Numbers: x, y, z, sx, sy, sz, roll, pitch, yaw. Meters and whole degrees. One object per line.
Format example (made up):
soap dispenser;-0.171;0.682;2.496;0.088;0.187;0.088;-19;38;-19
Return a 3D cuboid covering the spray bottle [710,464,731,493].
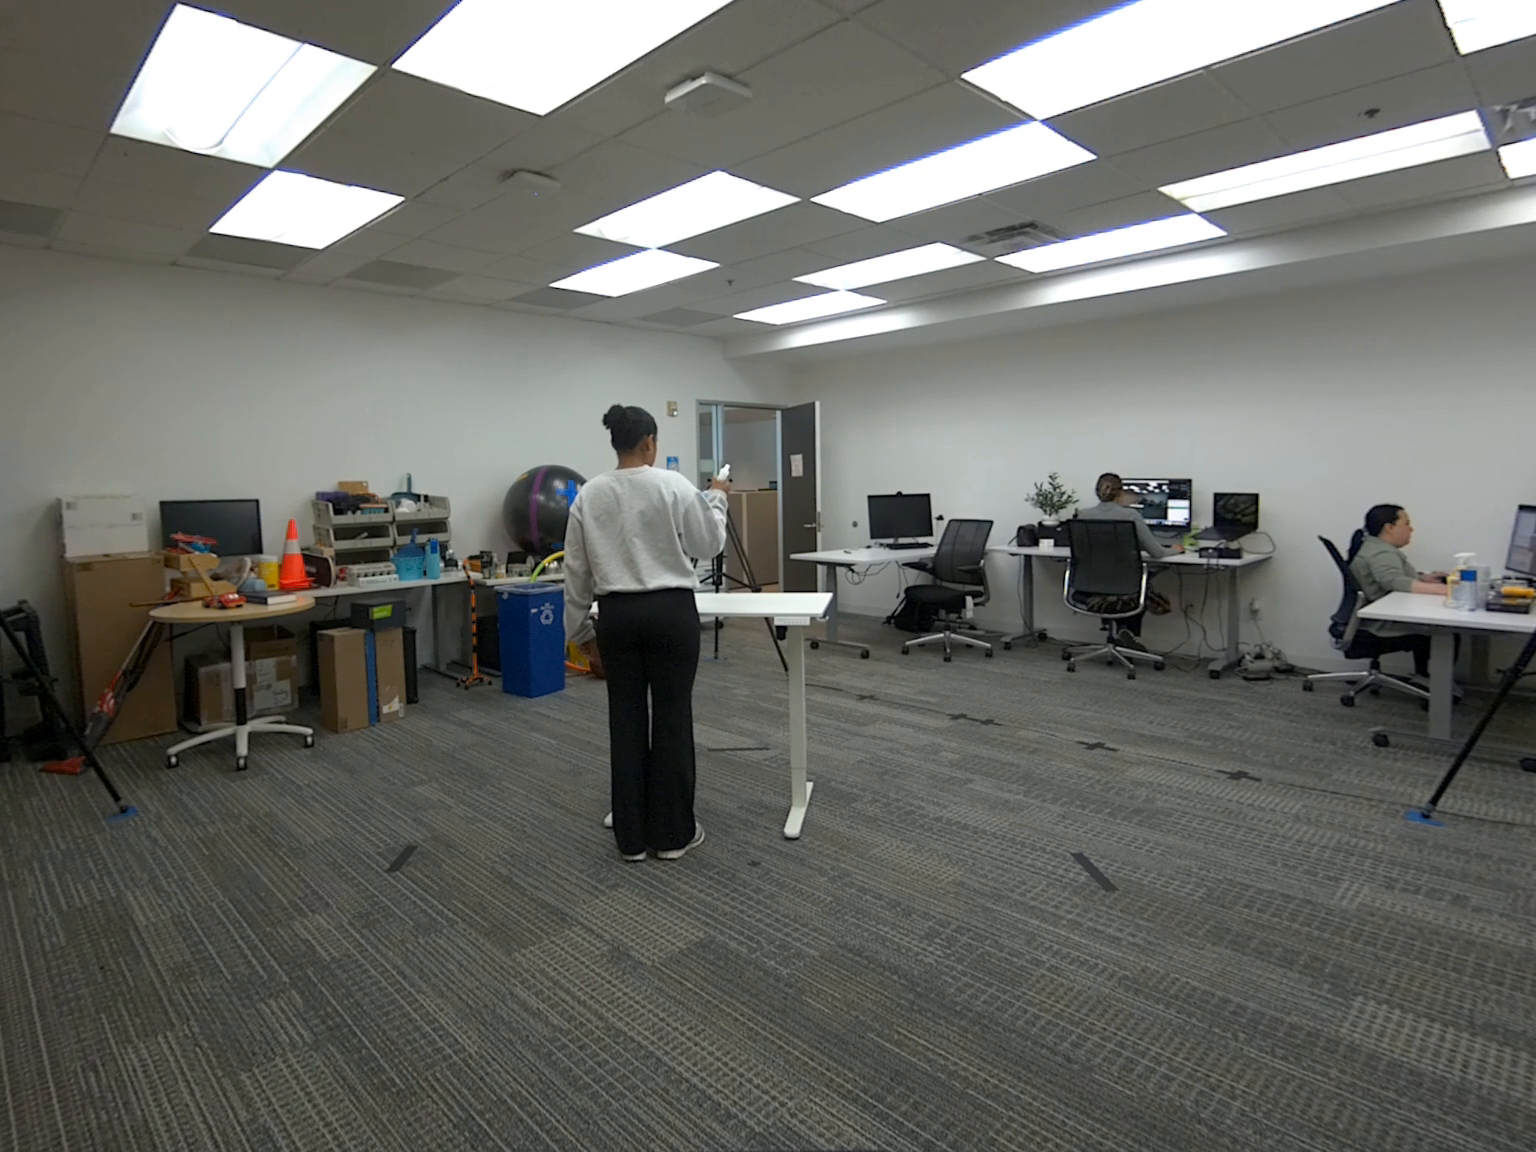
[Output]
spray bottle;-0.222;-0.292;3.430;0.089;0.294;0.088;37;29;21
